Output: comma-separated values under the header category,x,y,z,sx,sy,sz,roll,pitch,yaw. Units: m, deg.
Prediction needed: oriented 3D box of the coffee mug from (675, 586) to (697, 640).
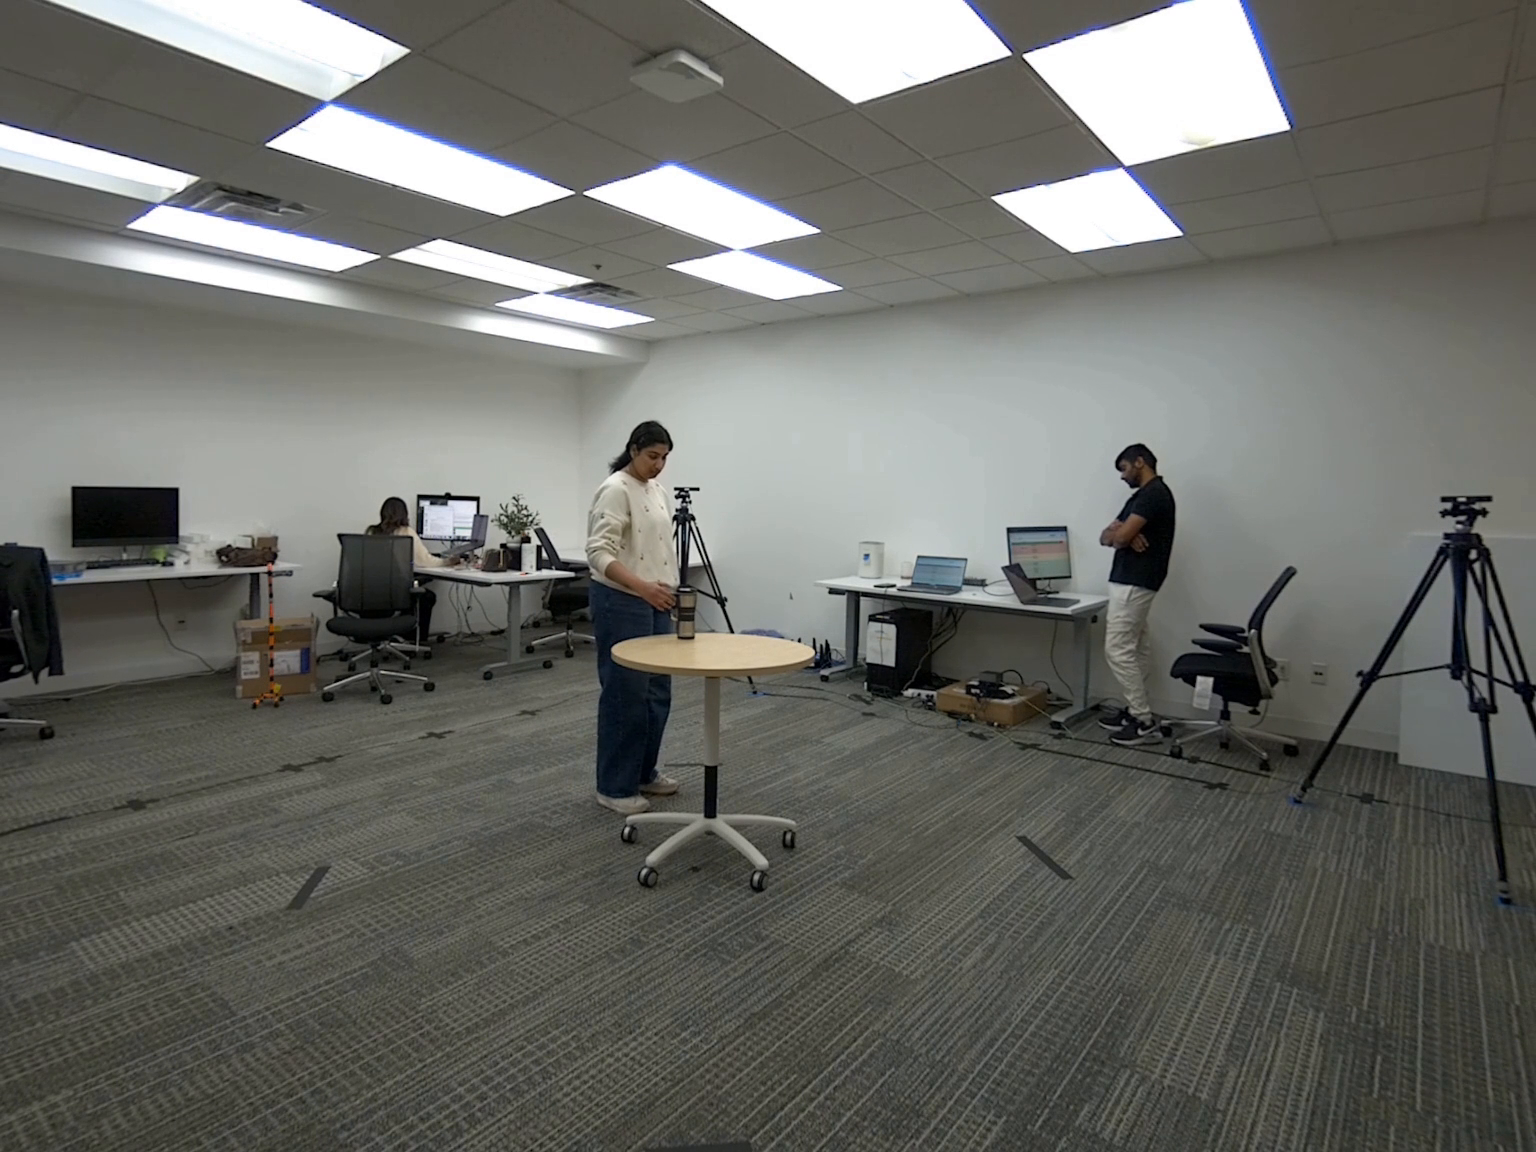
category,x,y,z,sx,sy,sz,roll,pitch,yaw
coffee mug,-0.361,0.152,3.464,0.126,0.202,0.085,6,9,44
